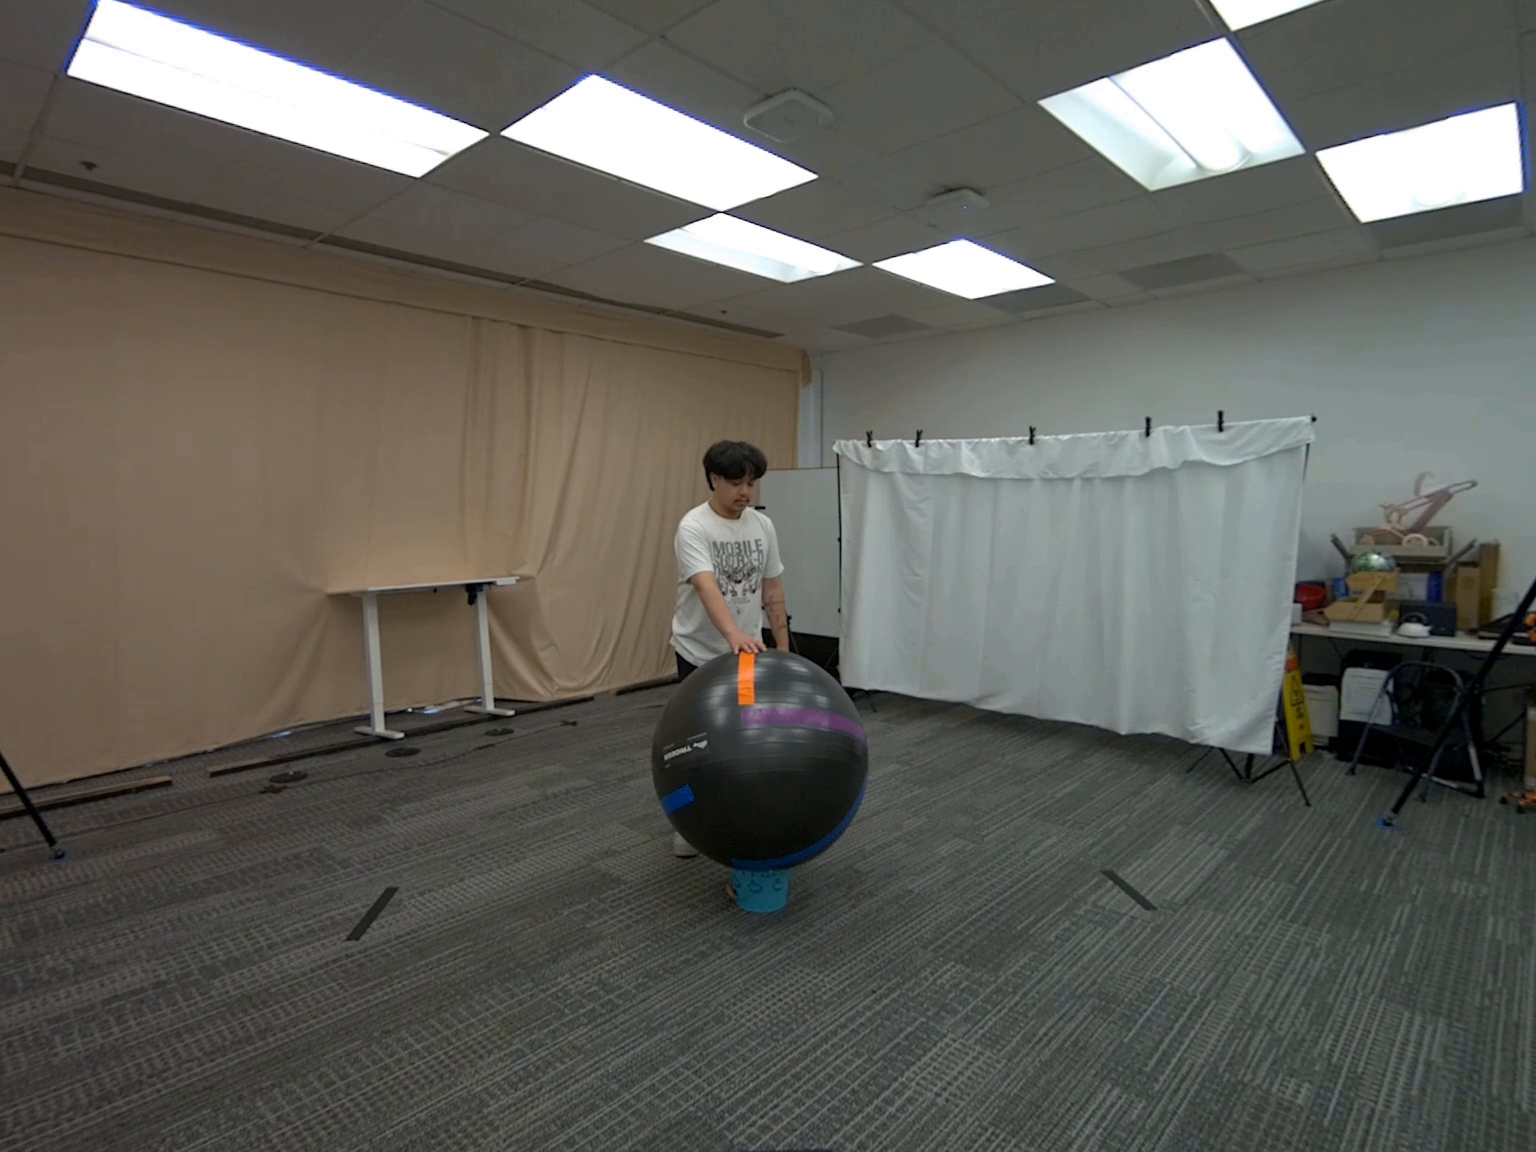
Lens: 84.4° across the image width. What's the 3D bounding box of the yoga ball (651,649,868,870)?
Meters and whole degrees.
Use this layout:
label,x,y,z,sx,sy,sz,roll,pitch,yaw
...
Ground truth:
label,x,y,z,sx,sy,sz,roll,pitch,yaw
yoga ball,-0.033,0.641,2.947,0.757,0.756,0.761,0,4,-2
